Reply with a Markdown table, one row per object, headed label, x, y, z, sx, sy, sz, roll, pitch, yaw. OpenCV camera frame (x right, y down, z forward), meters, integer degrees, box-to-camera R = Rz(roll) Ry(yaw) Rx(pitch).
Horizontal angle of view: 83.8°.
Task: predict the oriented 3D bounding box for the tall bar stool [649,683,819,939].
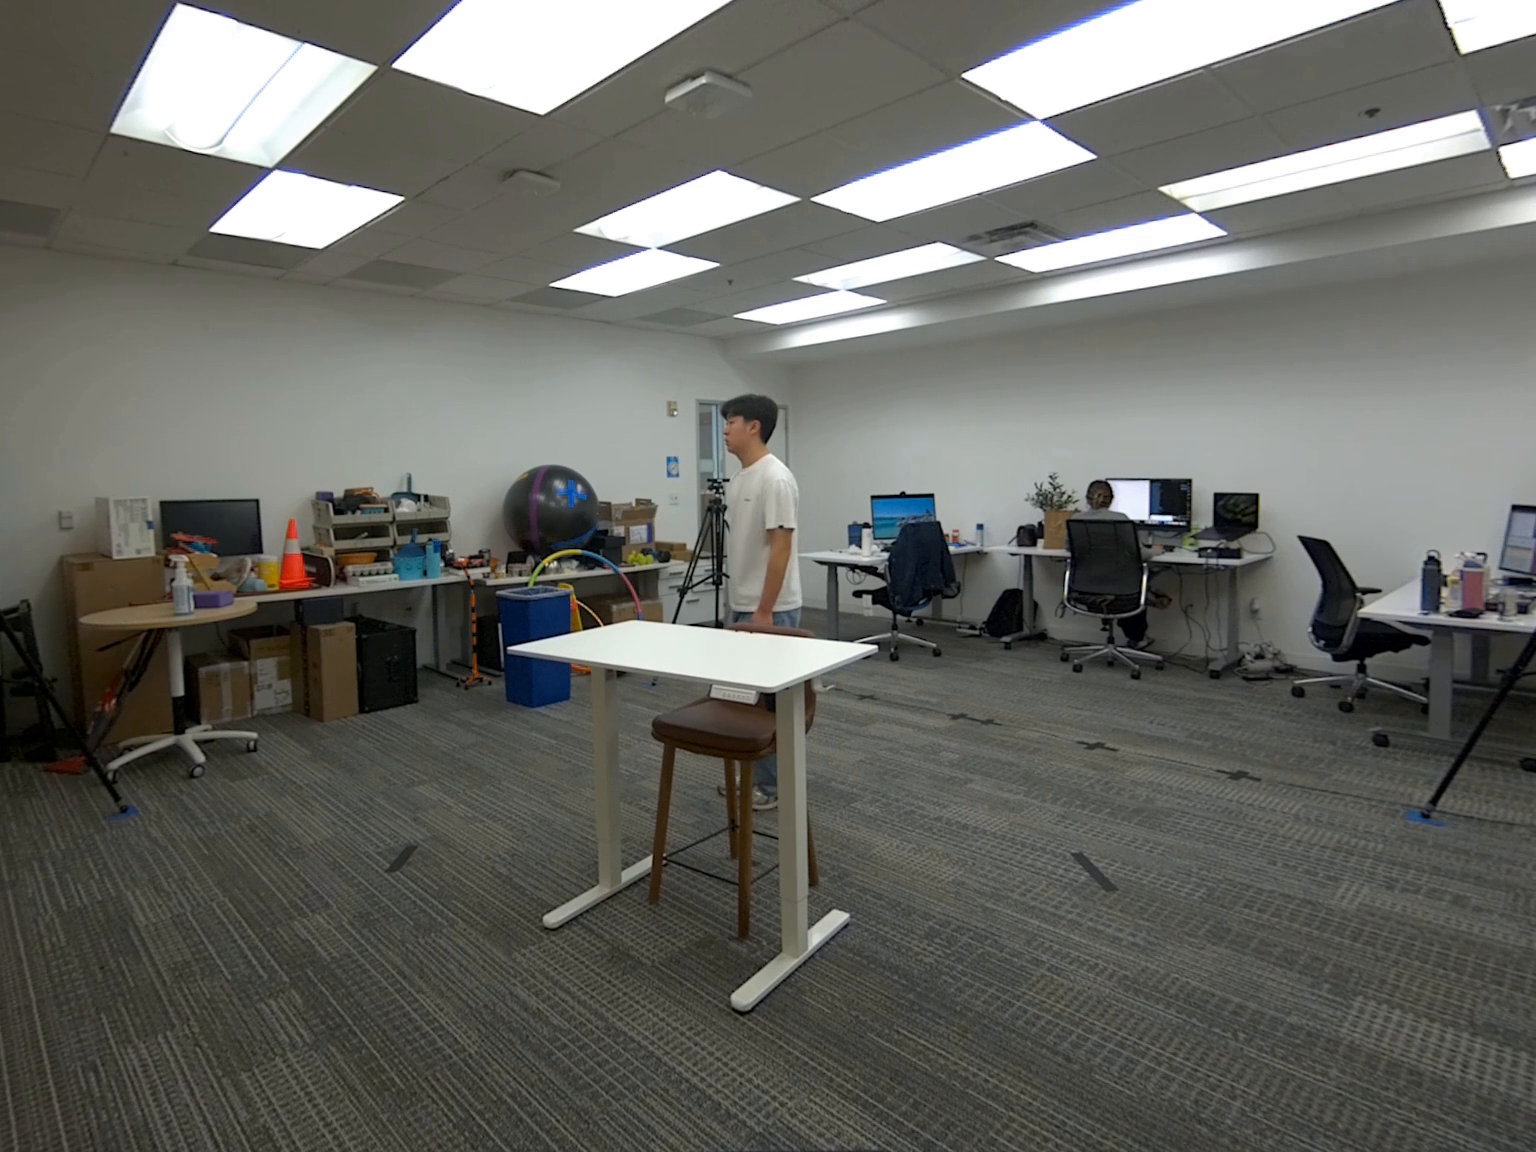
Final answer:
| label | x | y | z | sx | sy | sz | roll | pitch | yaw |
| --- | --- | --- | --- | --- | --- | --- | --- | --- | --- |
| tall bar stool | -0.109 | 0.642 | 2.869 | 0.470 | 0.889 | 0.454 | 3 | 2 | 39 |
